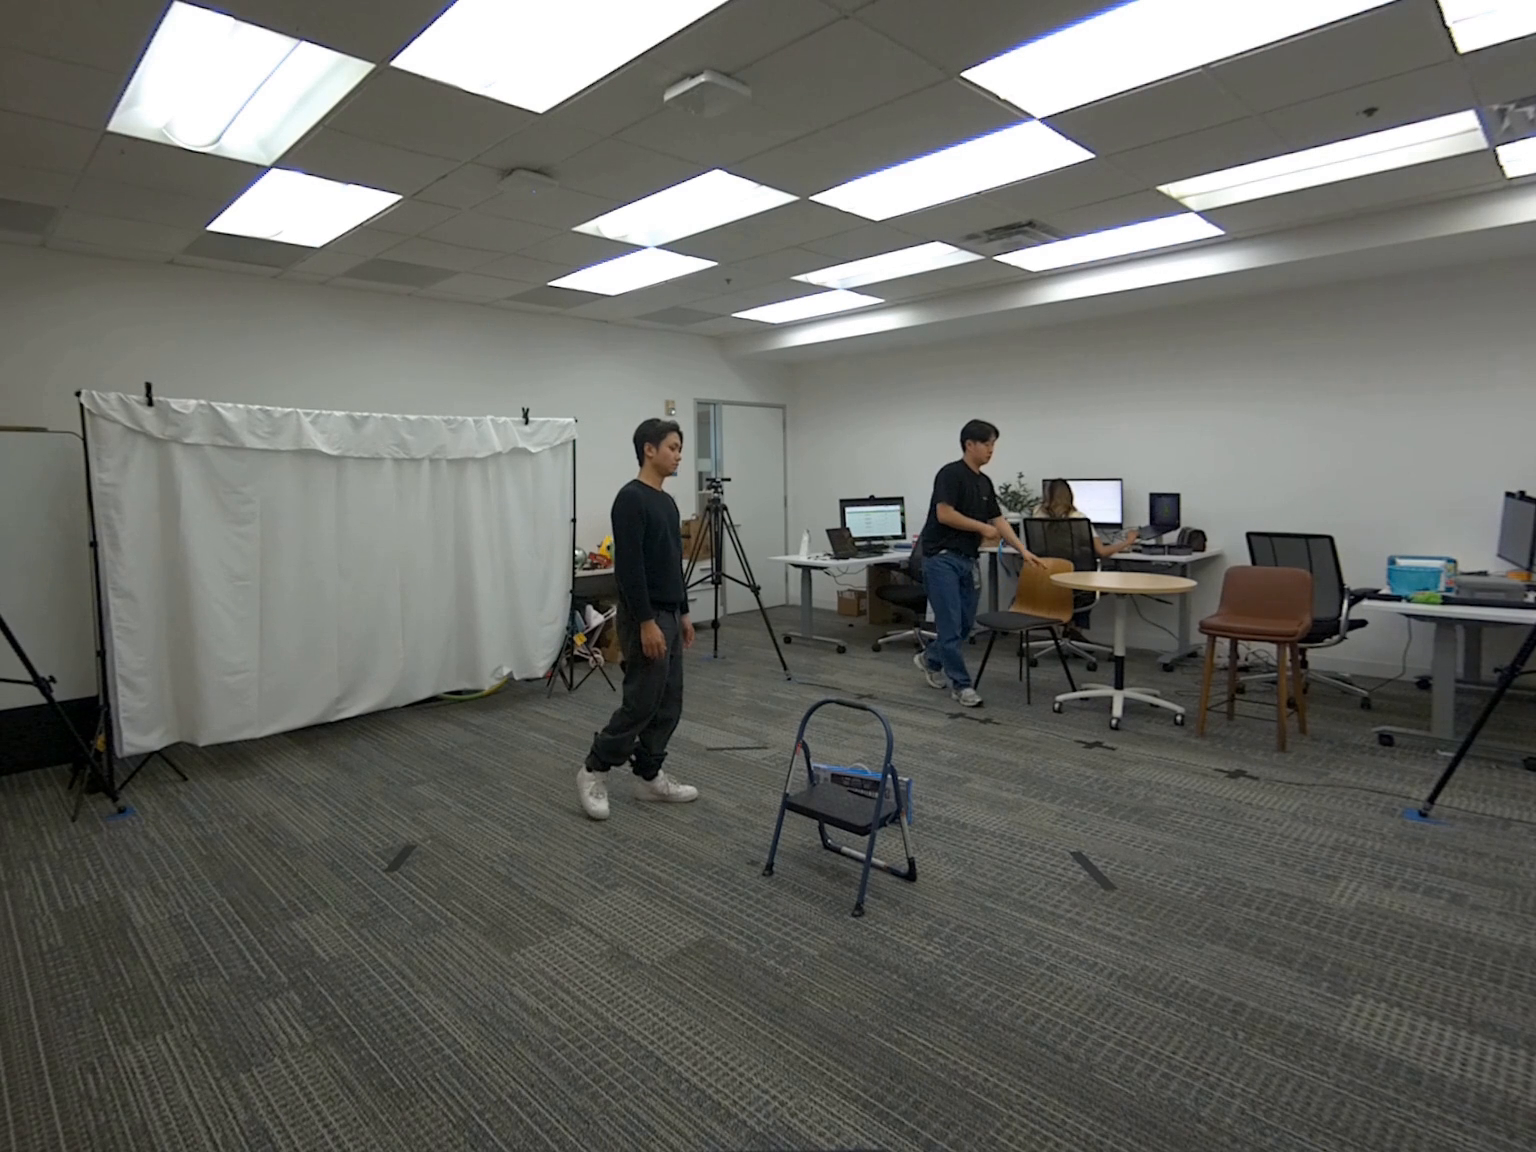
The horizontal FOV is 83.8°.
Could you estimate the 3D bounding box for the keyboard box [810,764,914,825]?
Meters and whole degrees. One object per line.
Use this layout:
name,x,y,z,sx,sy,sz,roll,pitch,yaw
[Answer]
keyboard box,0.388,0.903,3.544,0.448,0.176,0.057,3,-1,30
